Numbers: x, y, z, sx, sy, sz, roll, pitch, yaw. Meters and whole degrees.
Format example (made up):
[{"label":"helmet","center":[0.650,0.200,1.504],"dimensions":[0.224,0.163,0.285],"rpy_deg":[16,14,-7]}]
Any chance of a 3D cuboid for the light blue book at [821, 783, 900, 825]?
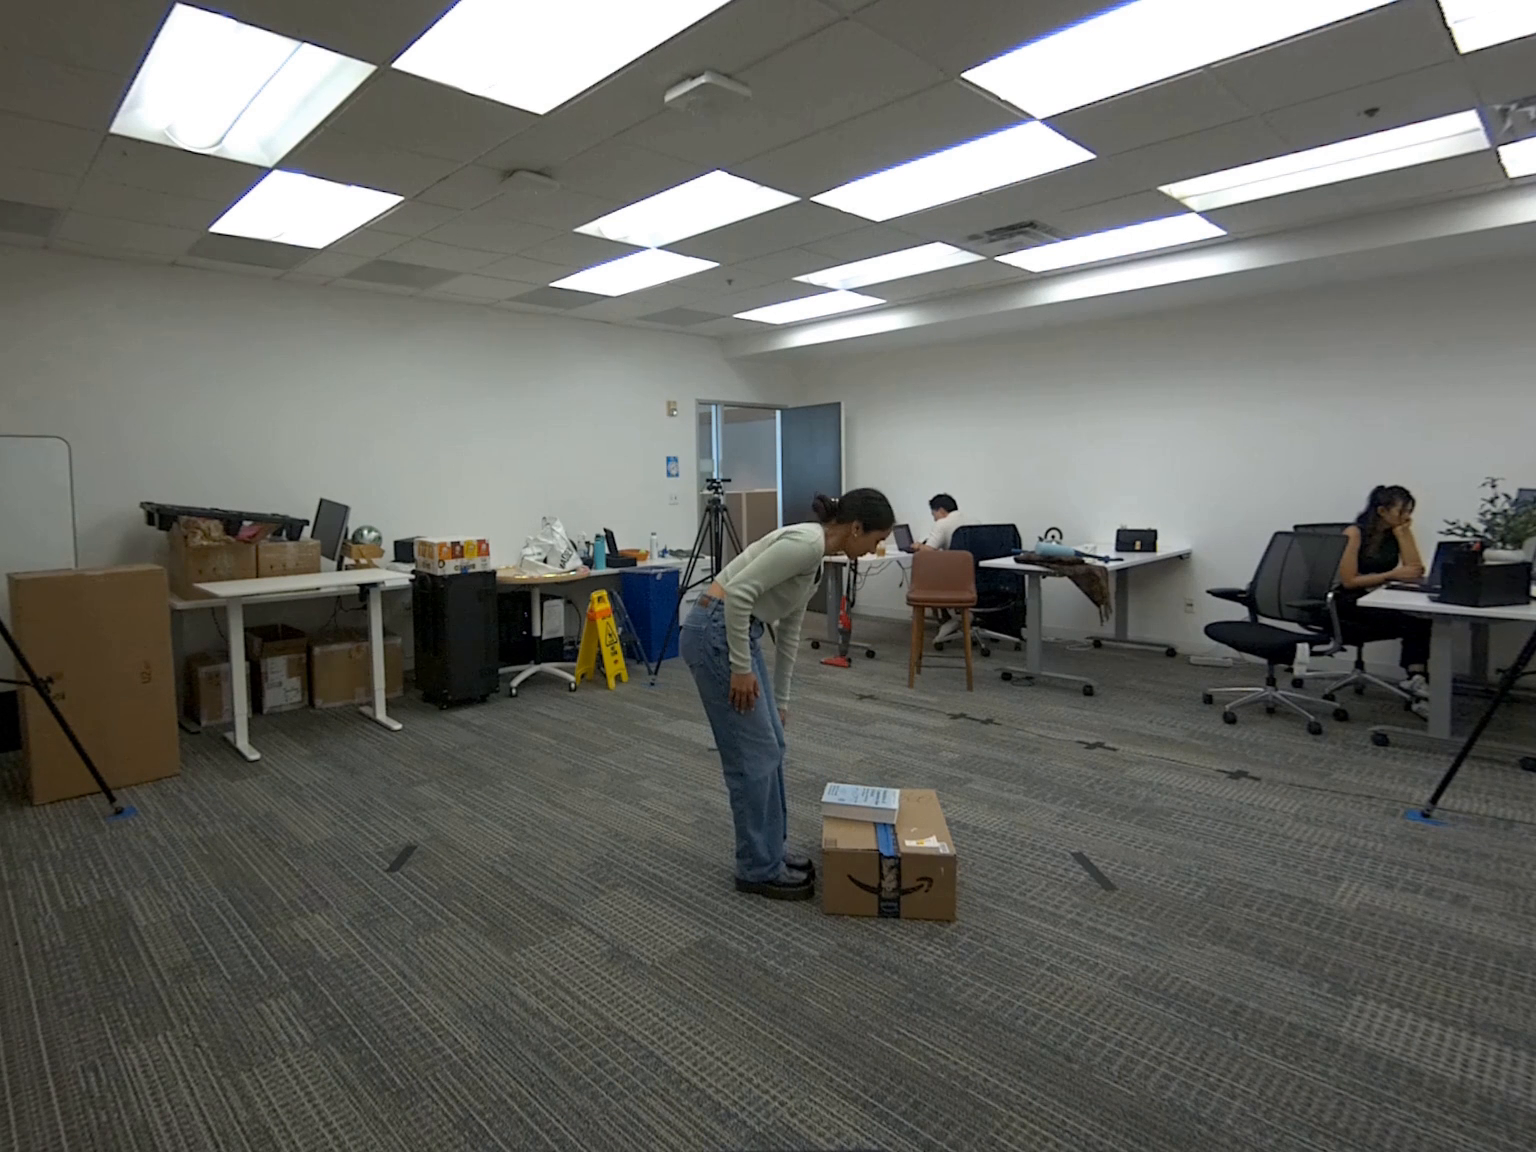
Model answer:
[{"label":"light blue book","center":[0.330,0.800,3.039],"dimensions":[0.265,0.059,0.190],"rpy_deg":[2,8,14]}]
